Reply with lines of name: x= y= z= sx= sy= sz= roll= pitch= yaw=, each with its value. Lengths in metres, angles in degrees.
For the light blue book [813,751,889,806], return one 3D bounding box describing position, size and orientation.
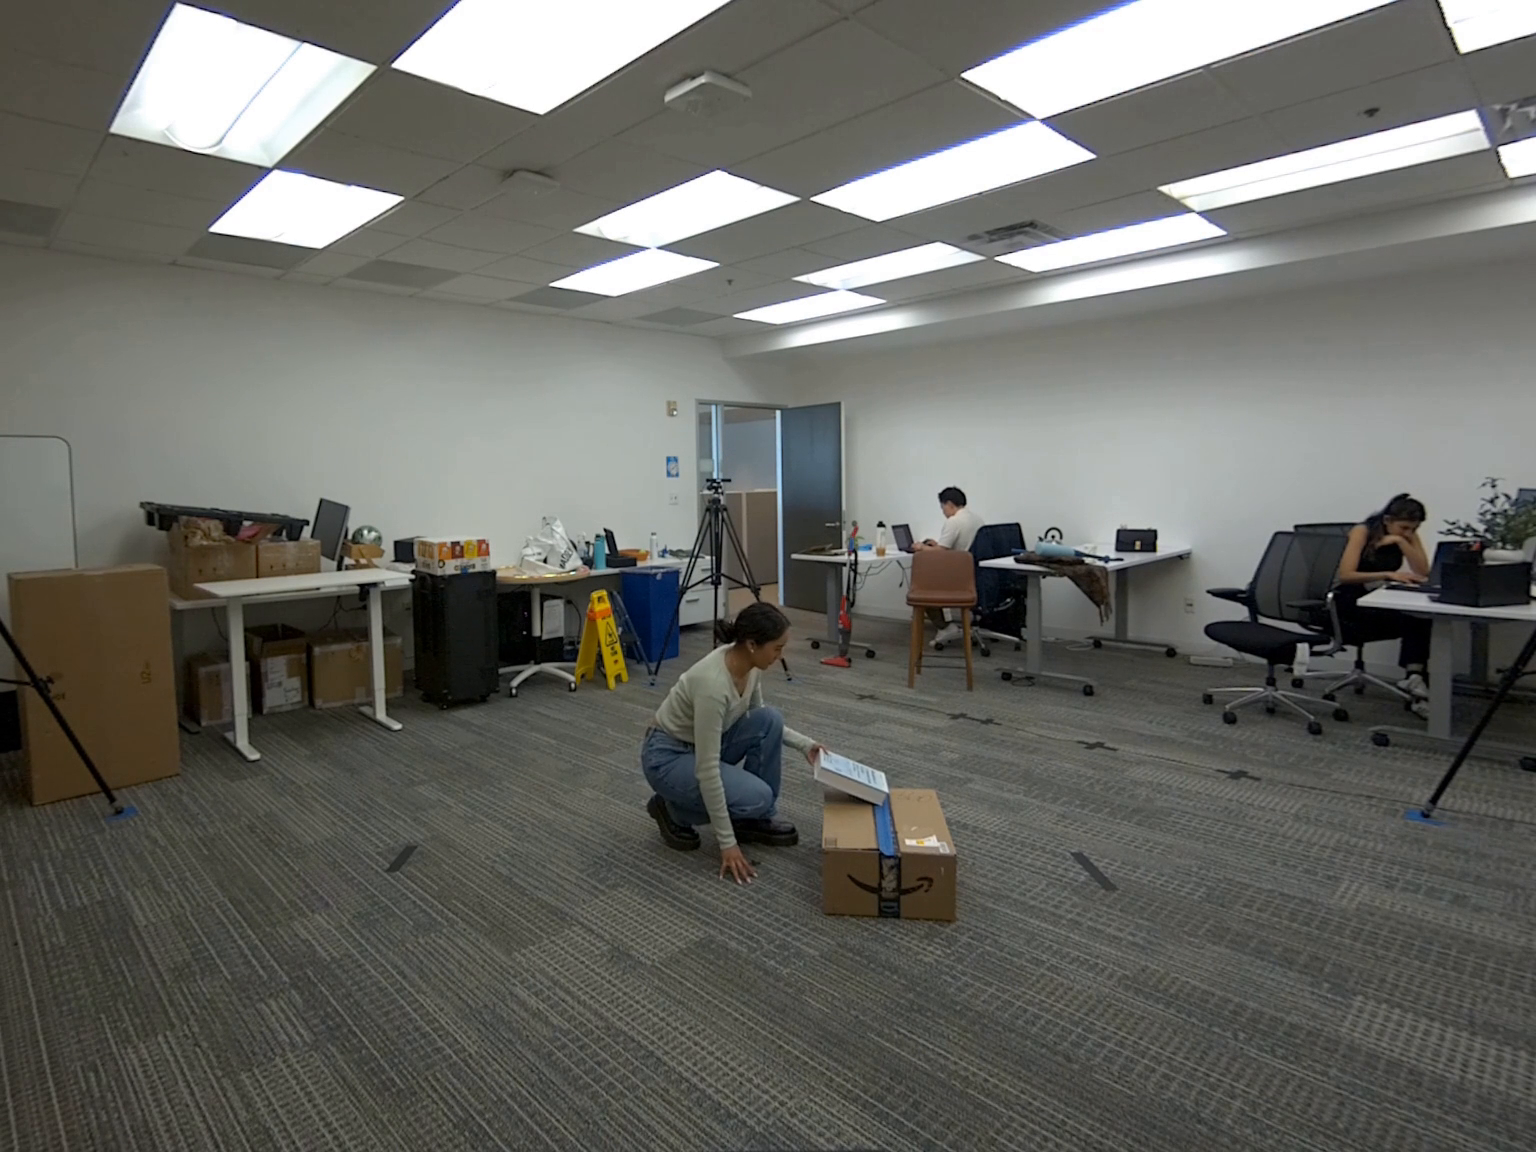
light blue book: x=0.306 y=0.733 z=3.171 sx=0.262 sy=0.059 sz=0.191 roll=21 pitch=8 yaw=3
